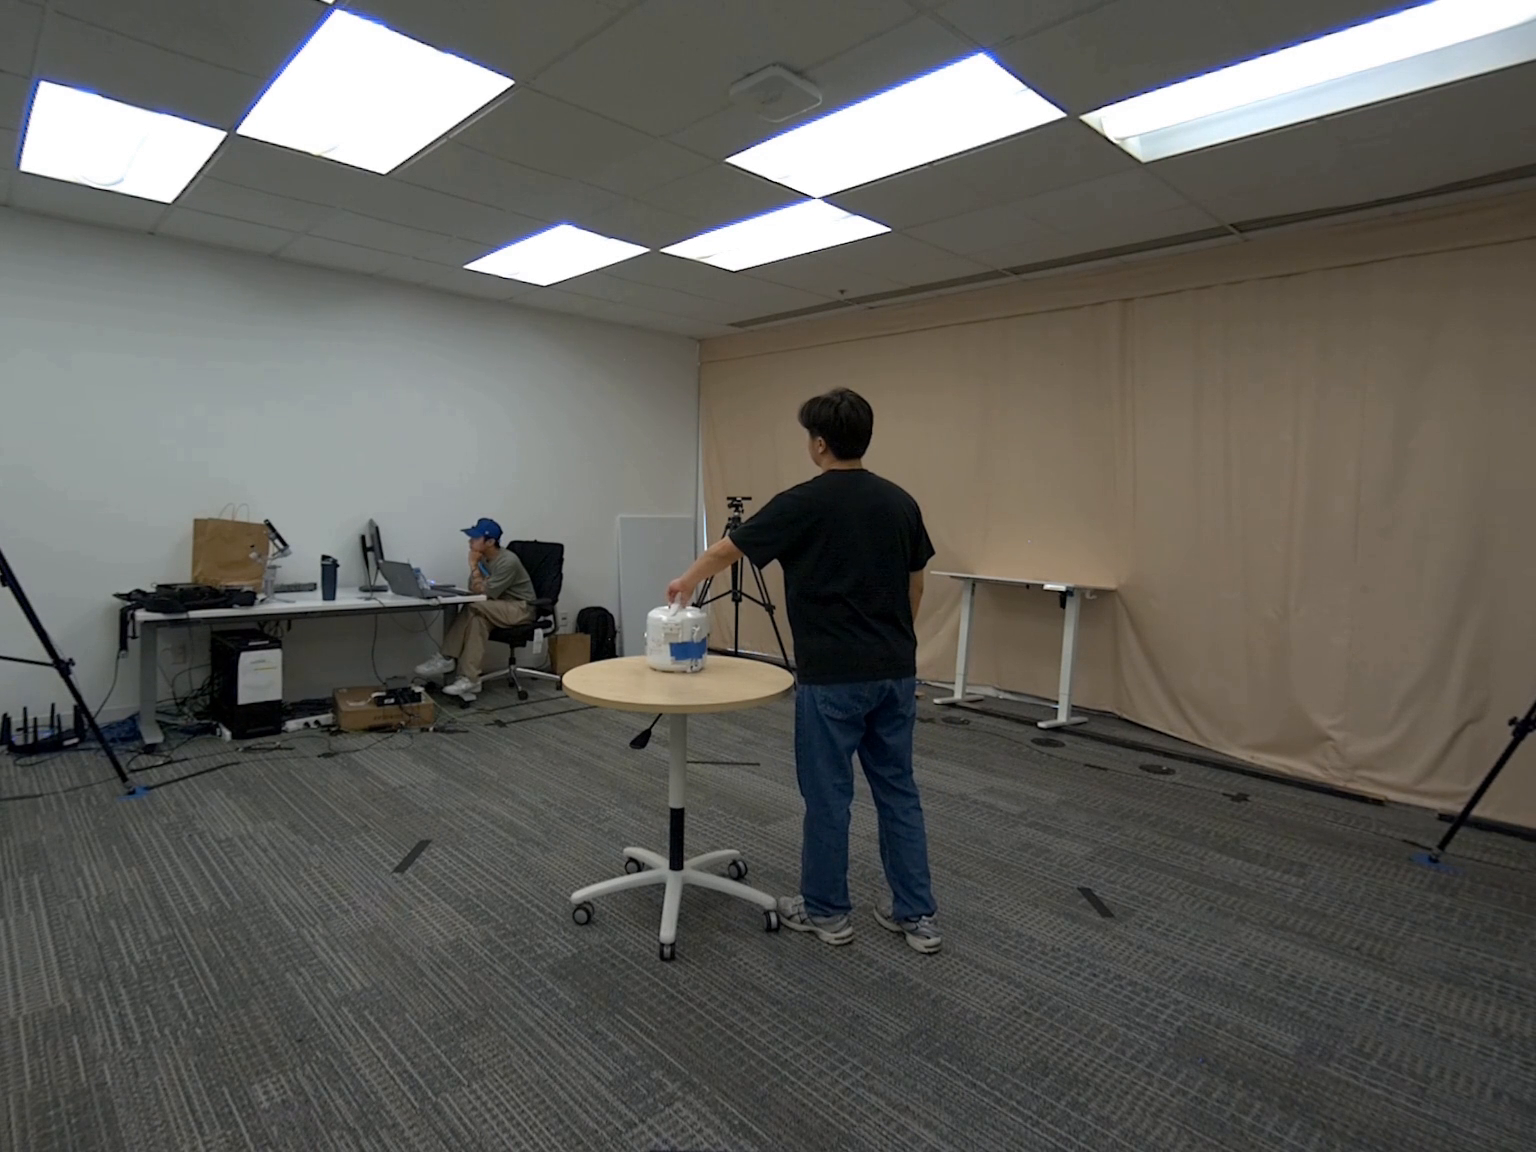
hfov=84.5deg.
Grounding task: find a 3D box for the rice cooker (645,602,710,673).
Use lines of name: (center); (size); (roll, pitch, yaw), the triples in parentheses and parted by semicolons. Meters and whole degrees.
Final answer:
rice cooker: (-0.322, 0.207, 2.931); (0.219, 0.232, 0.220); (2, 4, 6)
